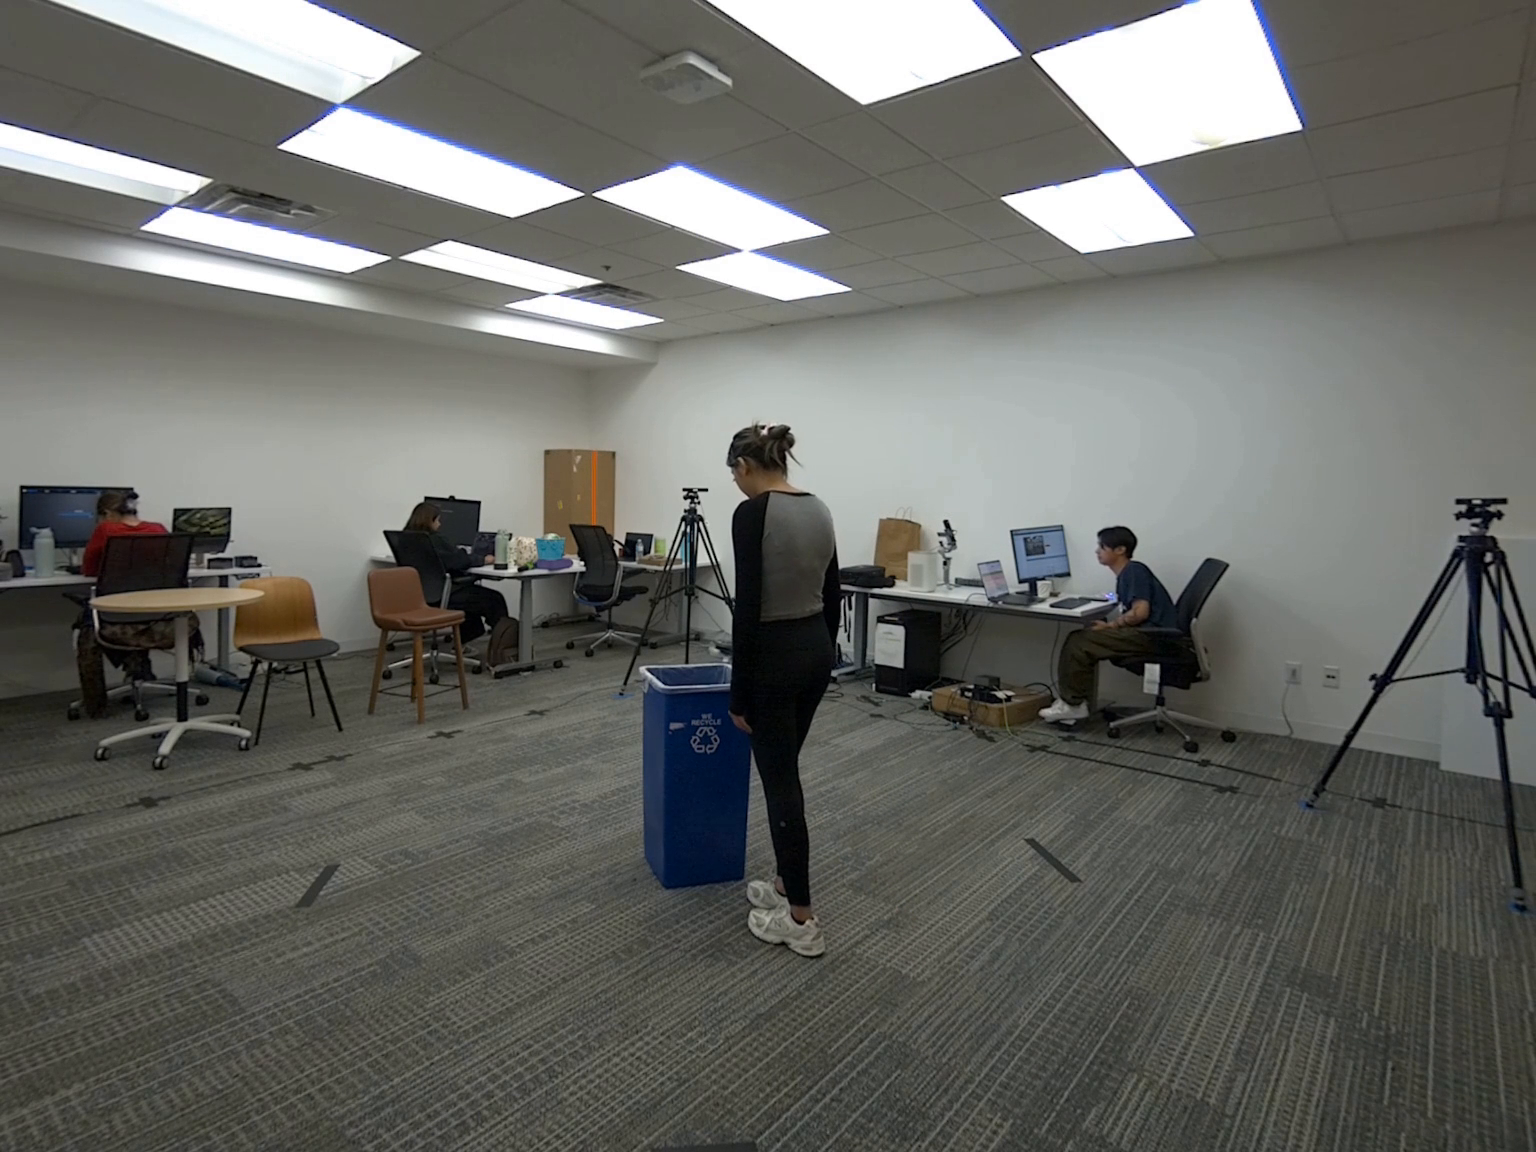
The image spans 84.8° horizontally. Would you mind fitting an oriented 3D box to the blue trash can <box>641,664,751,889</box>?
[{"bbox_3d":[-0.271,0.710,3.106,0.370,0.712,0.383,0,3,-22],"label":"blue trash can"}]
